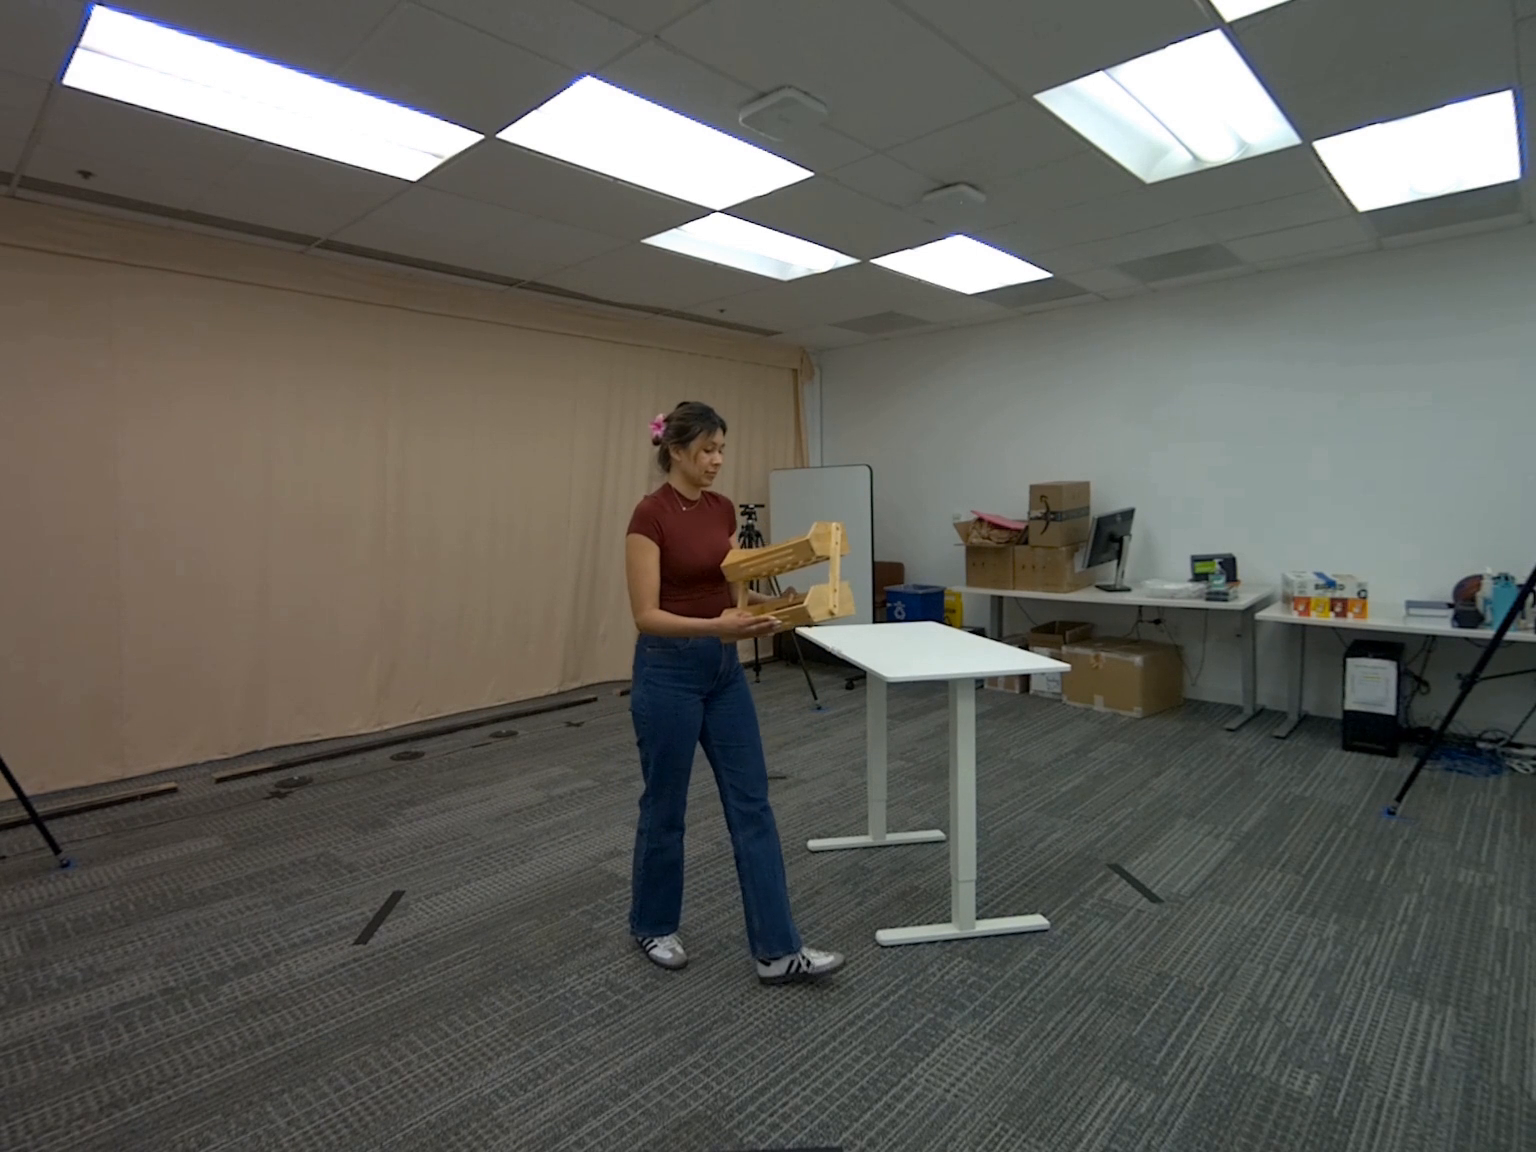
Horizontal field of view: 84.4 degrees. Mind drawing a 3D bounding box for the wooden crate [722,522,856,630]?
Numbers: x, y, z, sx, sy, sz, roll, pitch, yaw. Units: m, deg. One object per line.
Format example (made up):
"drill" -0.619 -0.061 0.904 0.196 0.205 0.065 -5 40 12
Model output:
"wooden crate" 0.050 0.012 2.320 0.332 0.275 0.293 -17 -8 34
